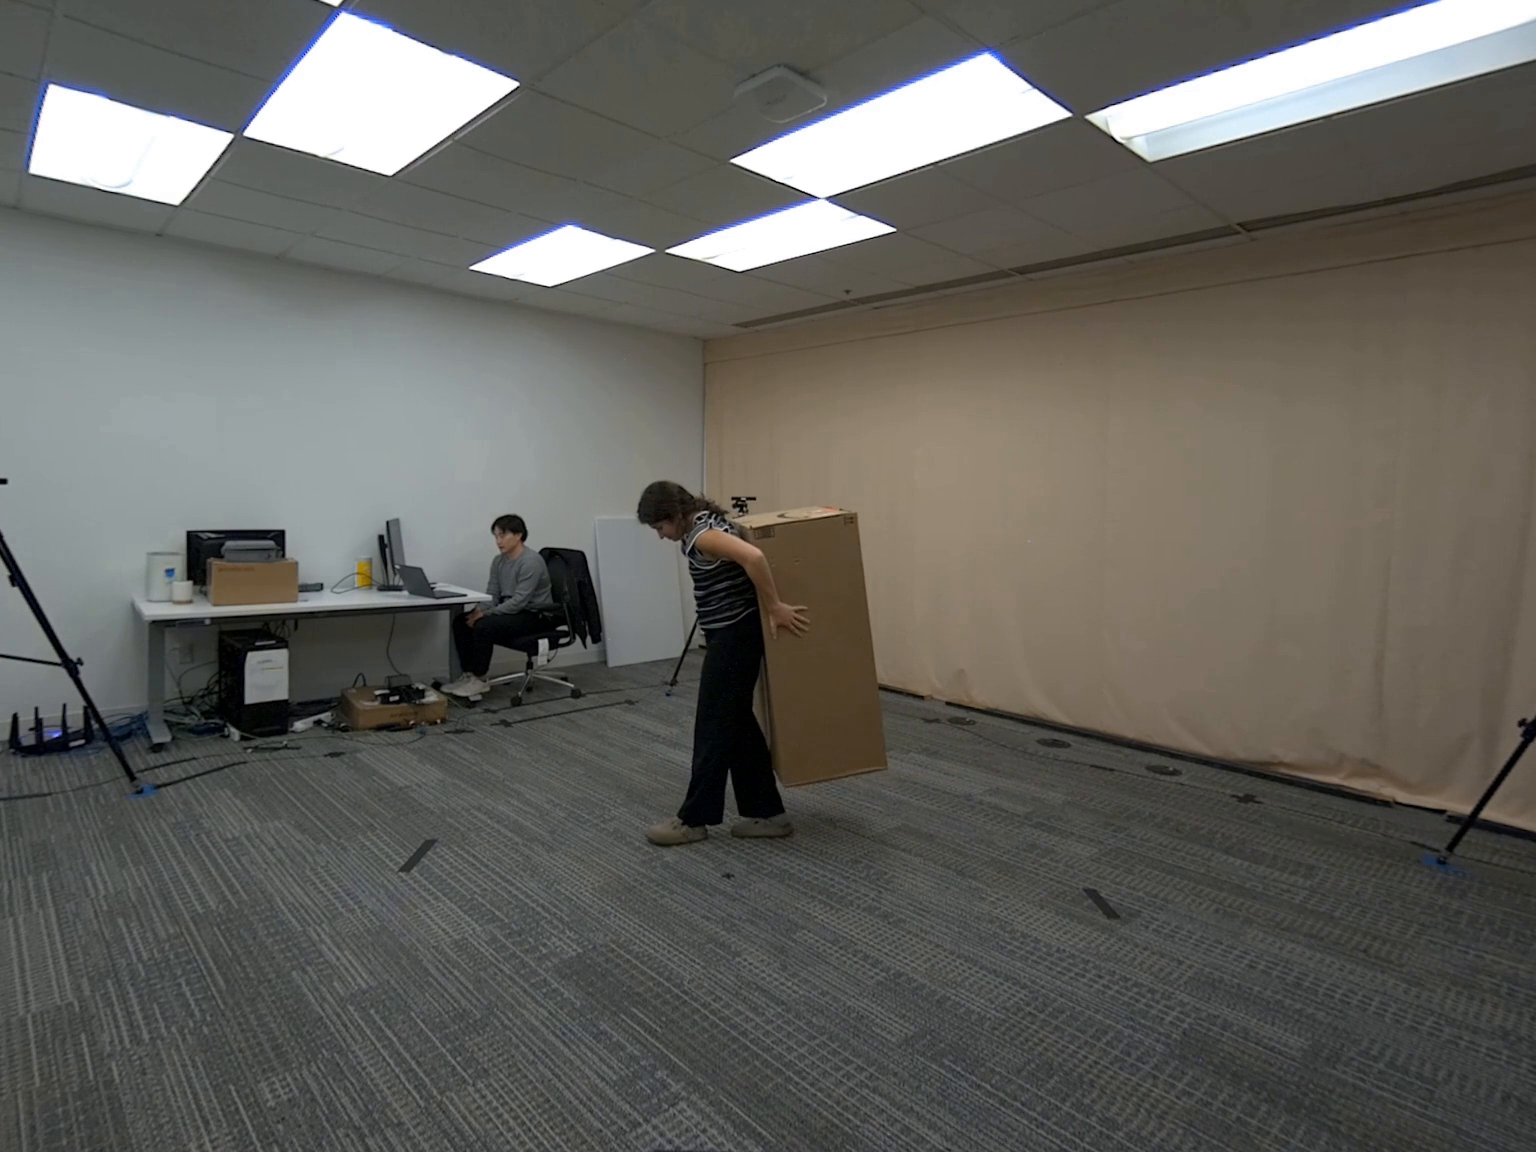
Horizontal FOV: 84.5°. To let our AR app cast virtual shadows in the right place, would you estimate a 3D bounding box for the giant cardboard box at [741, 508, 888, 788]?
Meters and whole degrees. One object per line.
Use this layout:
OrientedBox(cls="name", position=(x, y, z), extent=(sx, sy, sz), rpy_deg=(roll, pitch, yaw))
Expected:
OrientedBox(cls="giant cardboard box", position=(0.152, 0.256, 3.498), extent=(0.424, 1.021, 0.583), rpy_deg=(-8, 6, -7))
